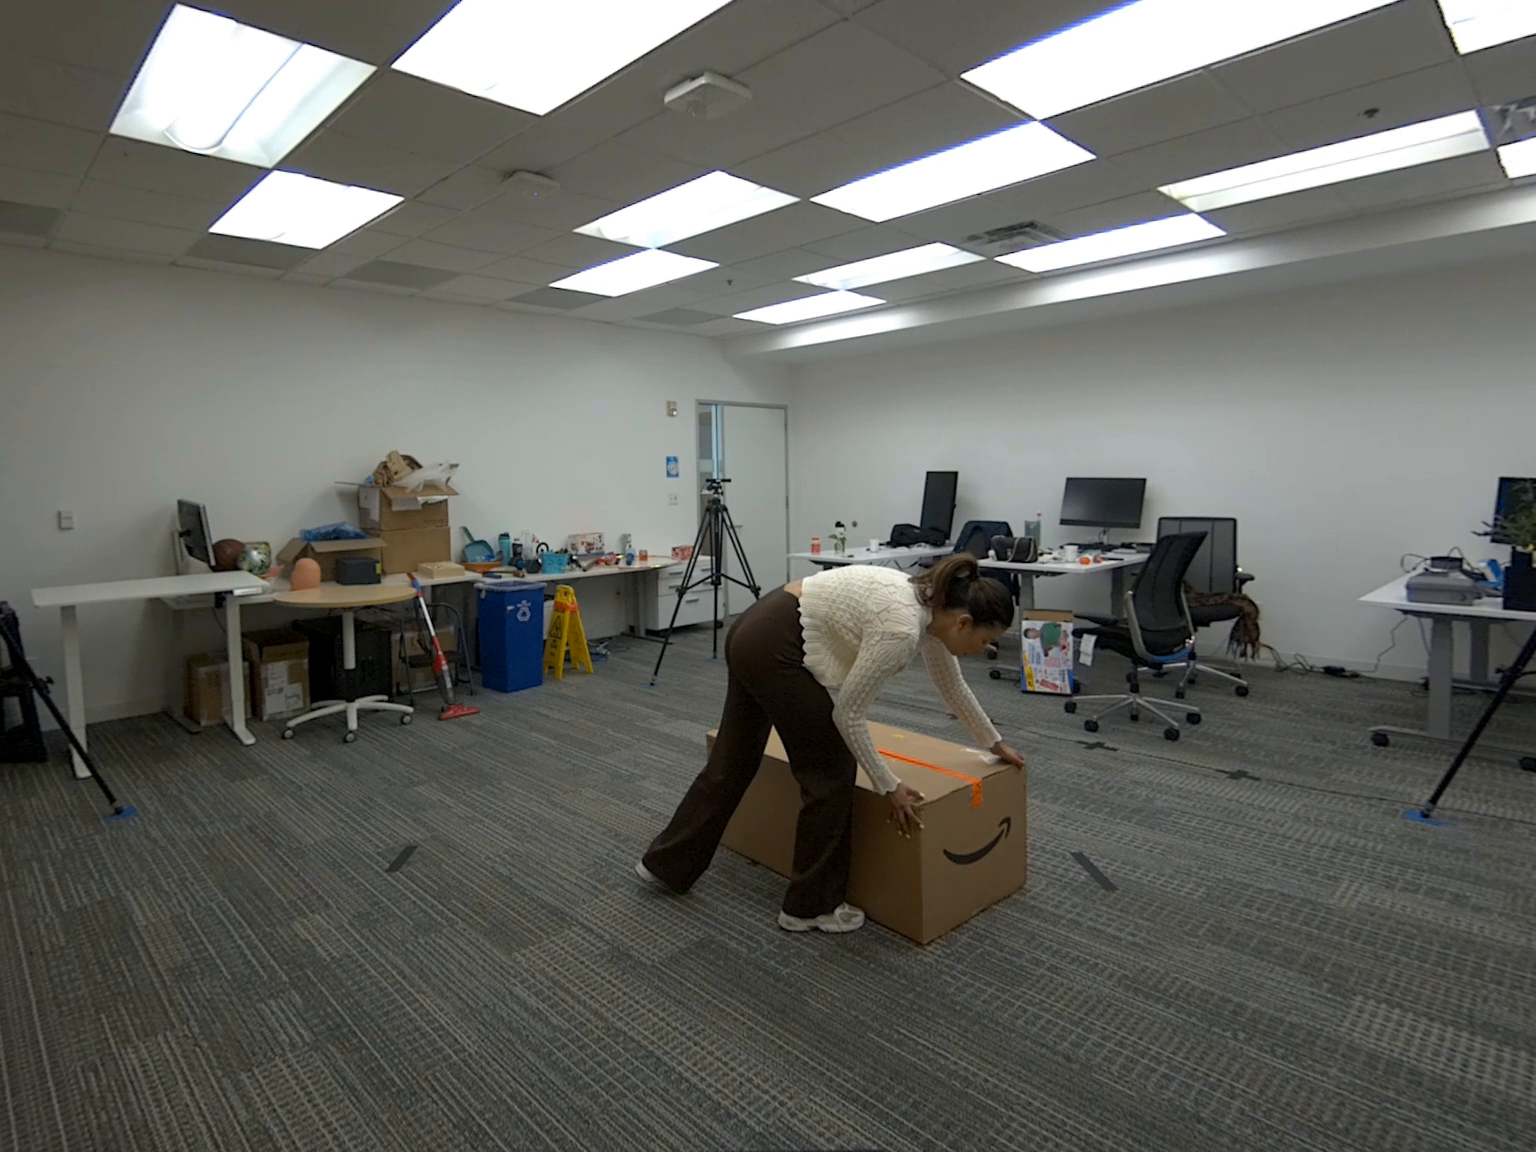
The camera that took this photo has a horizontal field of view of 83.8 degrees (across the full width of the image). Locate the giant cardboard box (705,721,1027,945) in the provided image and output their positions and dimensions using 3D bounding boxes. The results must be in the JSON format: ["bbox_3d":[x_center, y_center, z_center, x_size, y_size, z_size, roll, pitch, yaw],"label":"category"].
[{"bbox_3d":[0.321,0.820,3.095,0.562,0.424,1.057,-6,7,-41],"label":"giant cardboard box"}]
